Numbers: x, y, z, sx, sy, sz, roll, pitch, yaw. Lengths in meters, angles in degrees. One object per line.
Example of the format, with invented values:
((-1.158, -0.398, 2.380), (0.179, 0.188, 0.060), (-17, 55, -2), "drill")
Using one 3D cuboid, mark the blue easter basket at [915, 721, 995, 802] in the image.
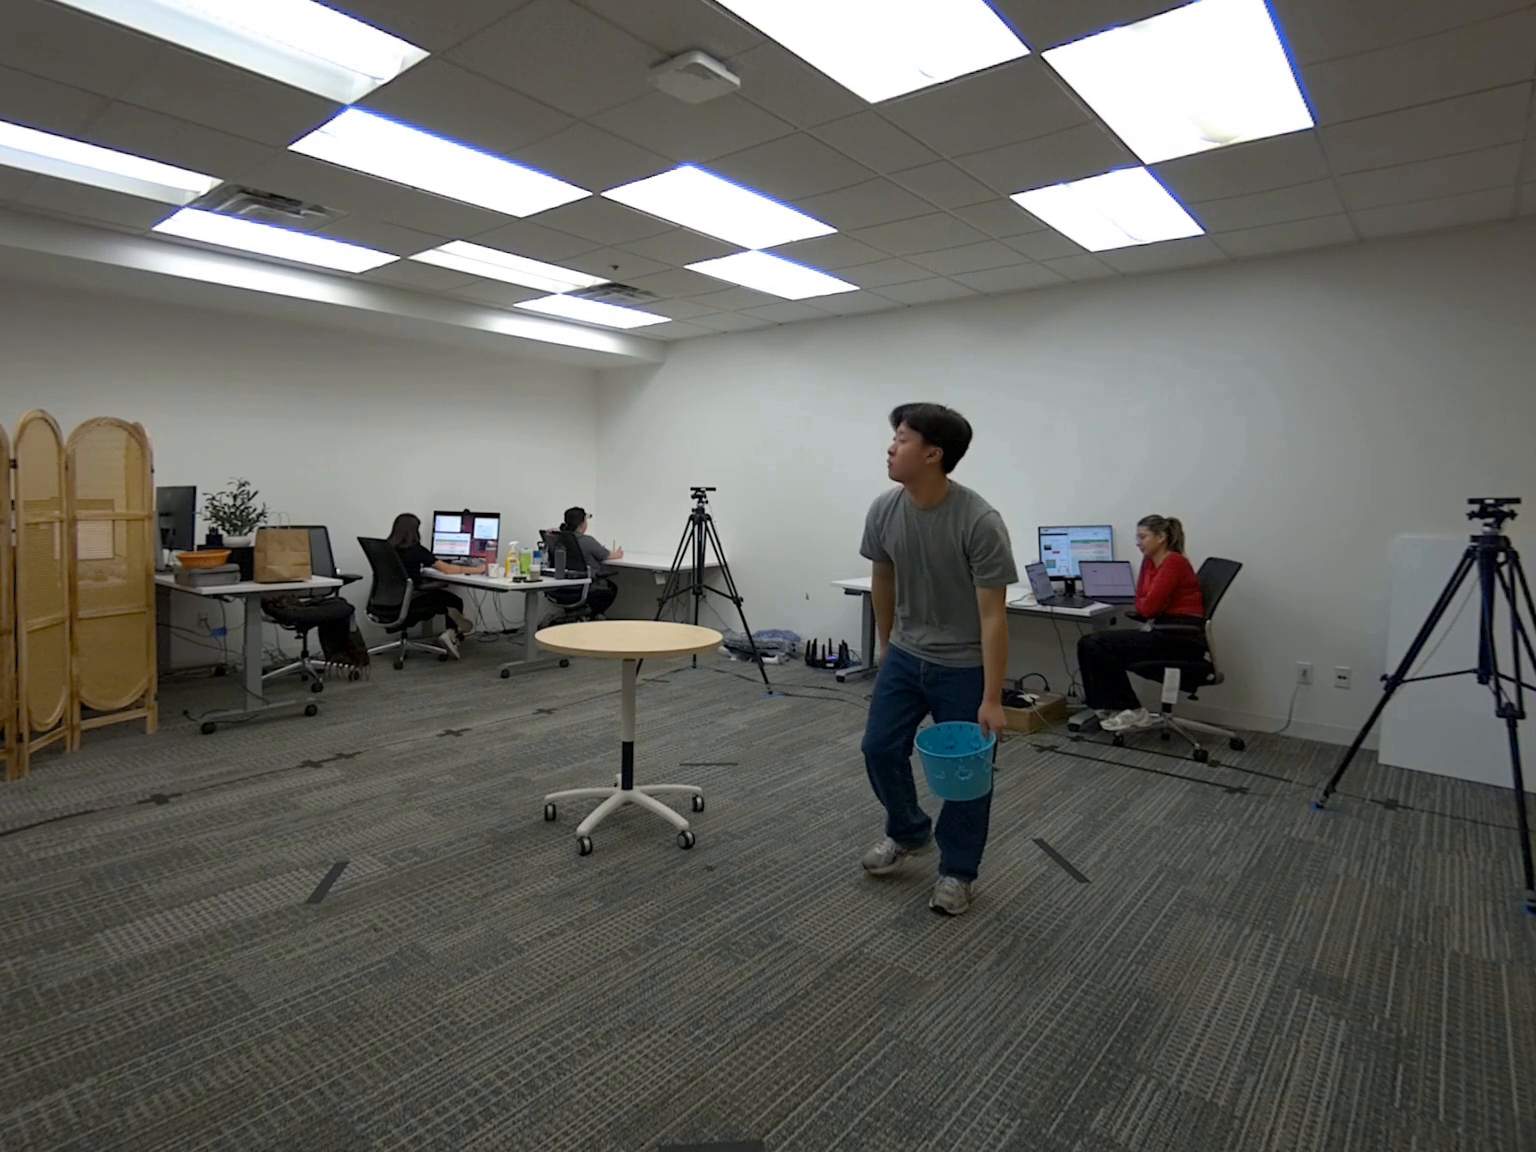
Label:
((0.568, 0.568, 2.531), (0.244, 0.154, 0.247), (-10, 13, 0), "blue easter basket")
